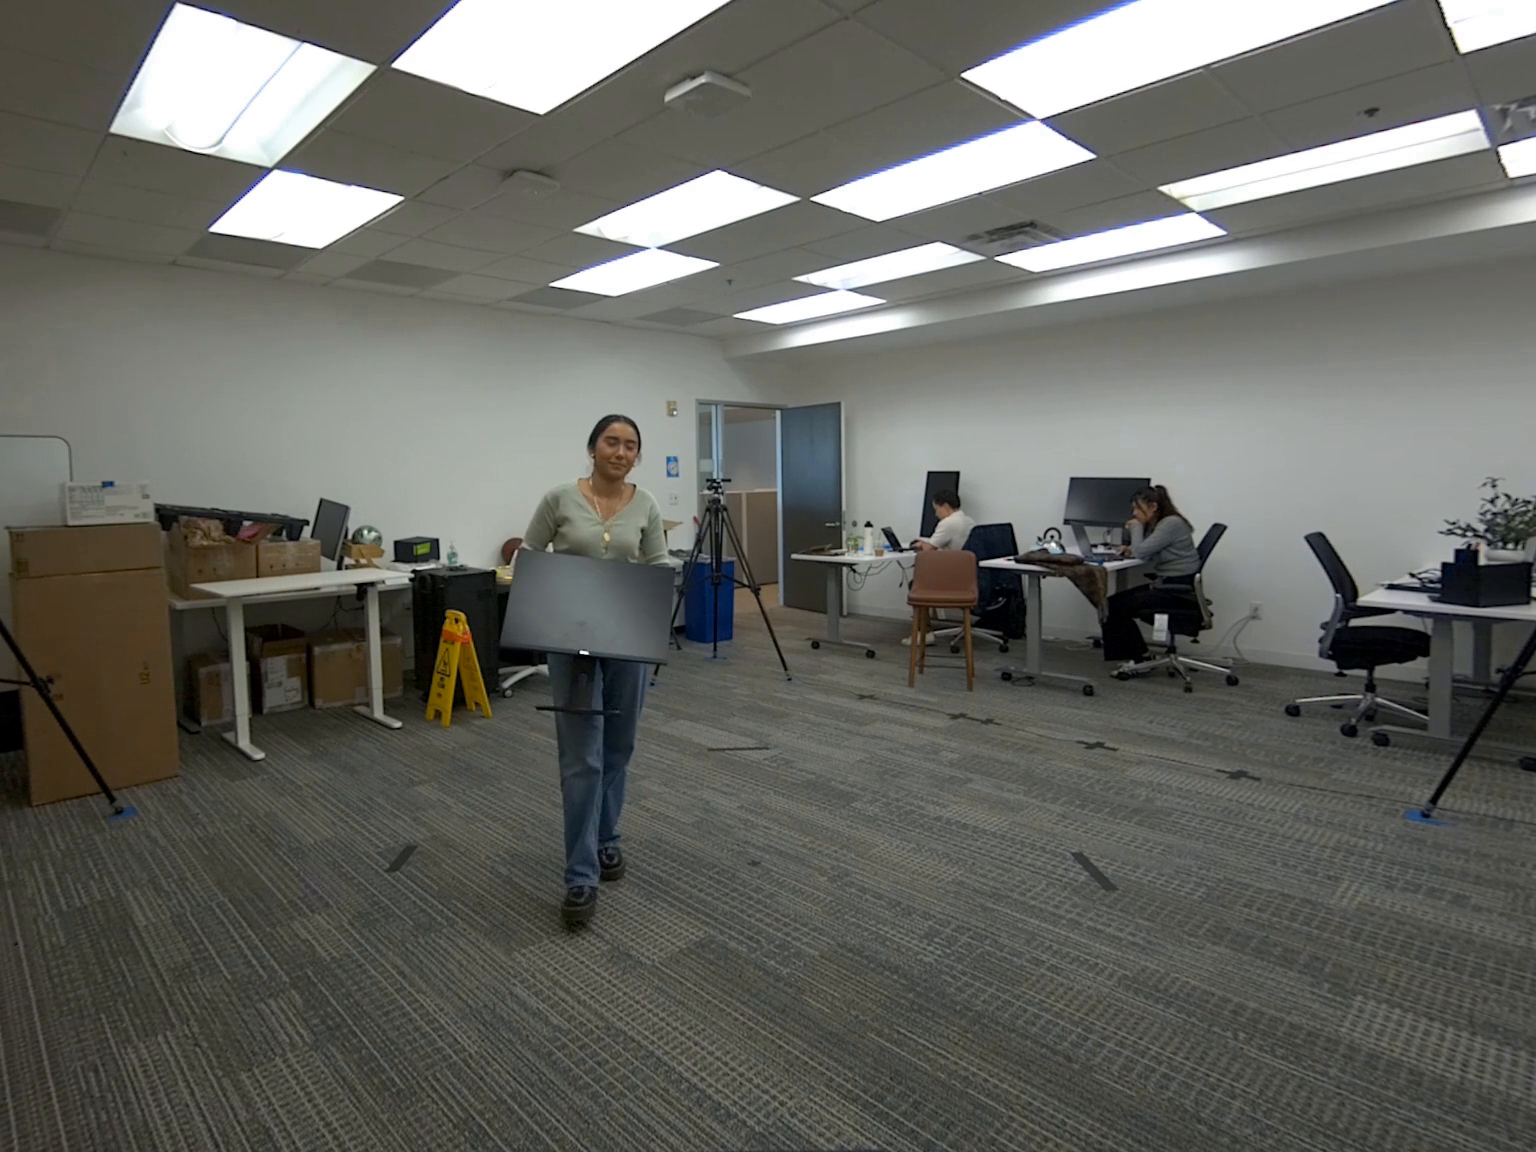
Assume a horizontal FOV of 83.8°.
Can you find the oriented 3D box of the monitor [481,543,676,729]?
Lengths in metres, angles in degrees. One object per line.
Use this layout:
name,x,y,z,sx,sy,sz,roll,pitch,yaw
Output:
monitor,-0.606,0.197,2.785,0.526,0.521,0.174,8,-11,-6
